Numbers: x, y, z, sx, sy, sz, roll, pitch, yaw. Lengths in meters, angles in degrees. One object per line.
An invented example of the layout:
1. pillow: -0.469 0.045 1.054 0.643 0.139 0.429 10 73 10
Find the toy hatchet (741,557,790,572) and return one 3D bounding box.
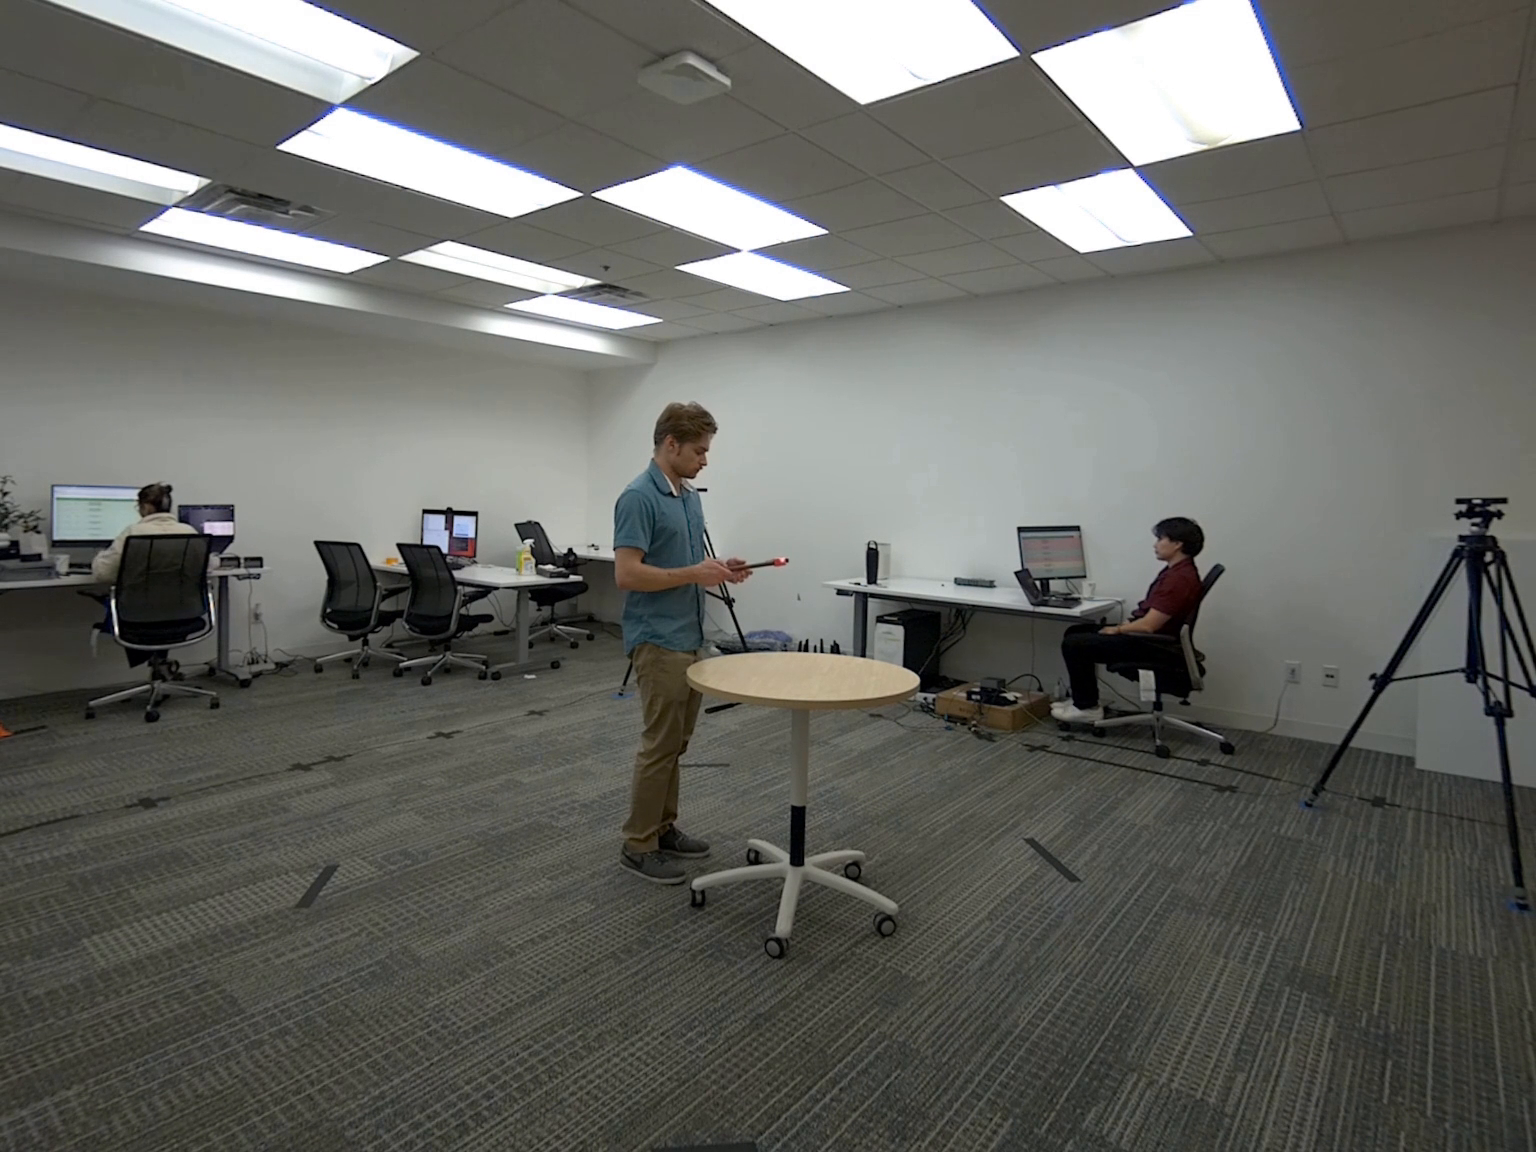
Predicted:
1. toy hatchet: -0.083 -0.036 3.074 0.275 0.029 0.129 -8 6 20
